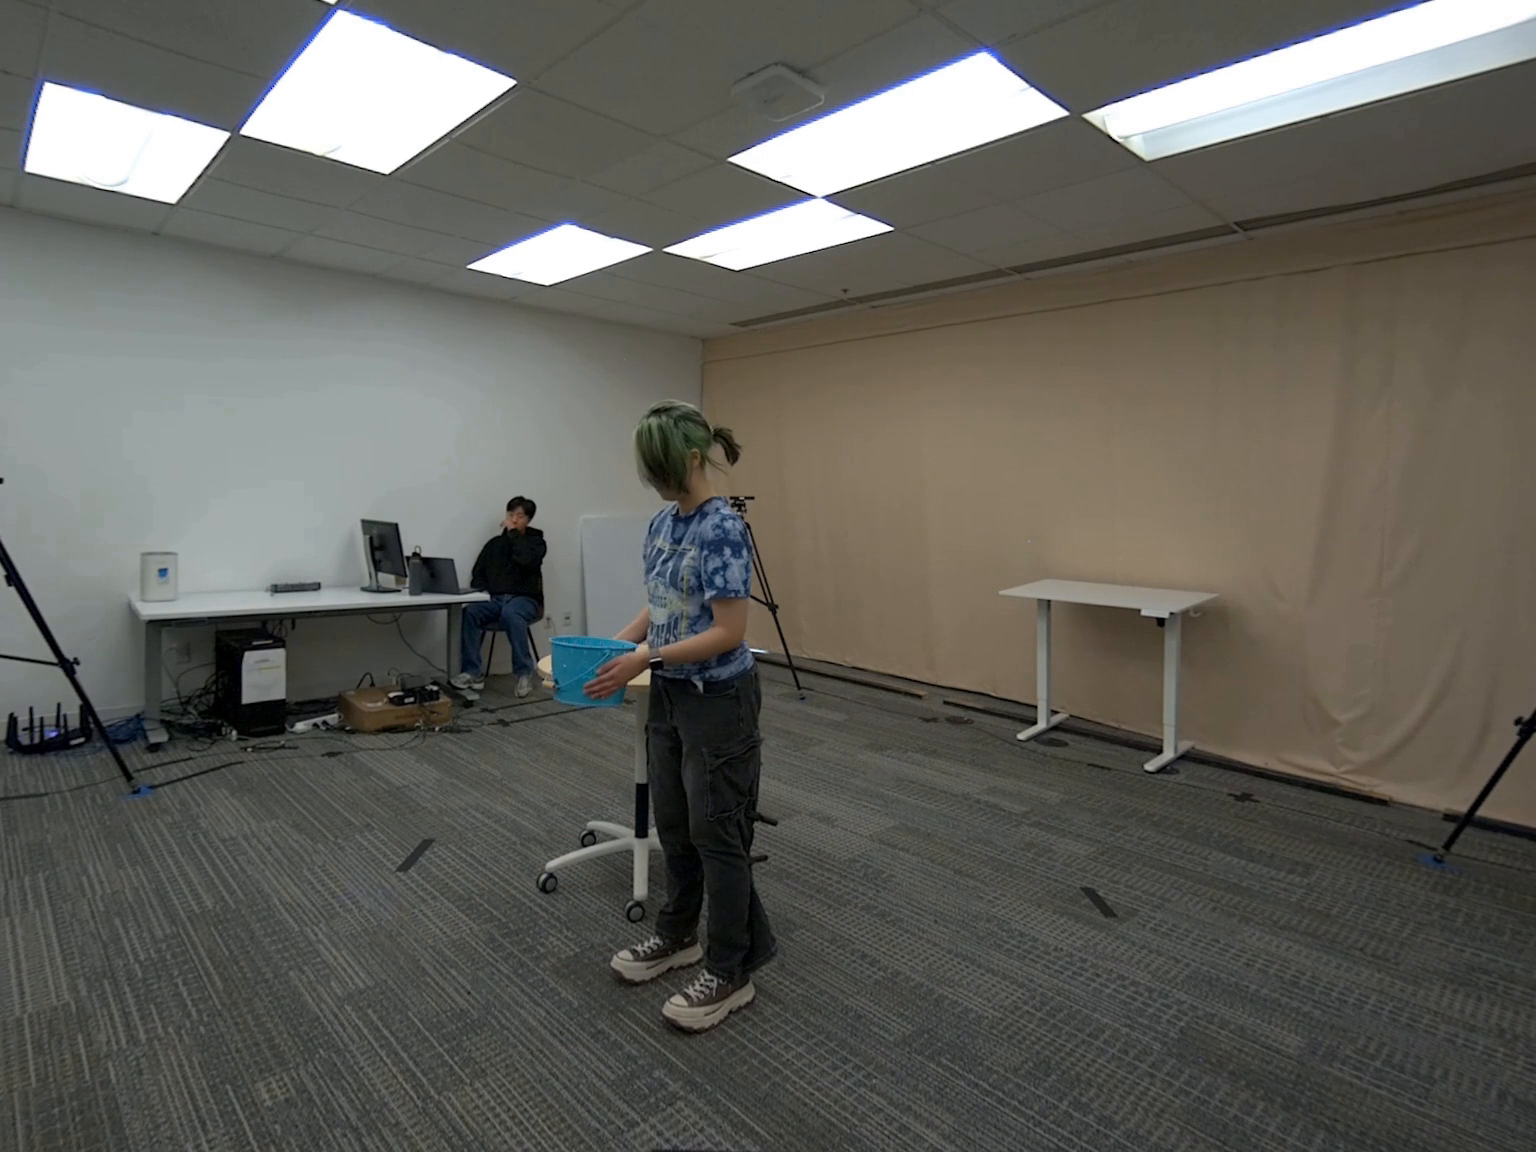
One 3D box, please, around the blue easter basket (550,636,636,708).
[{"bbox_3d":[-0.469,0.259,2.200,0.243,0.156,0.244,5,0,-1],"label":"blue easter basket"}]
